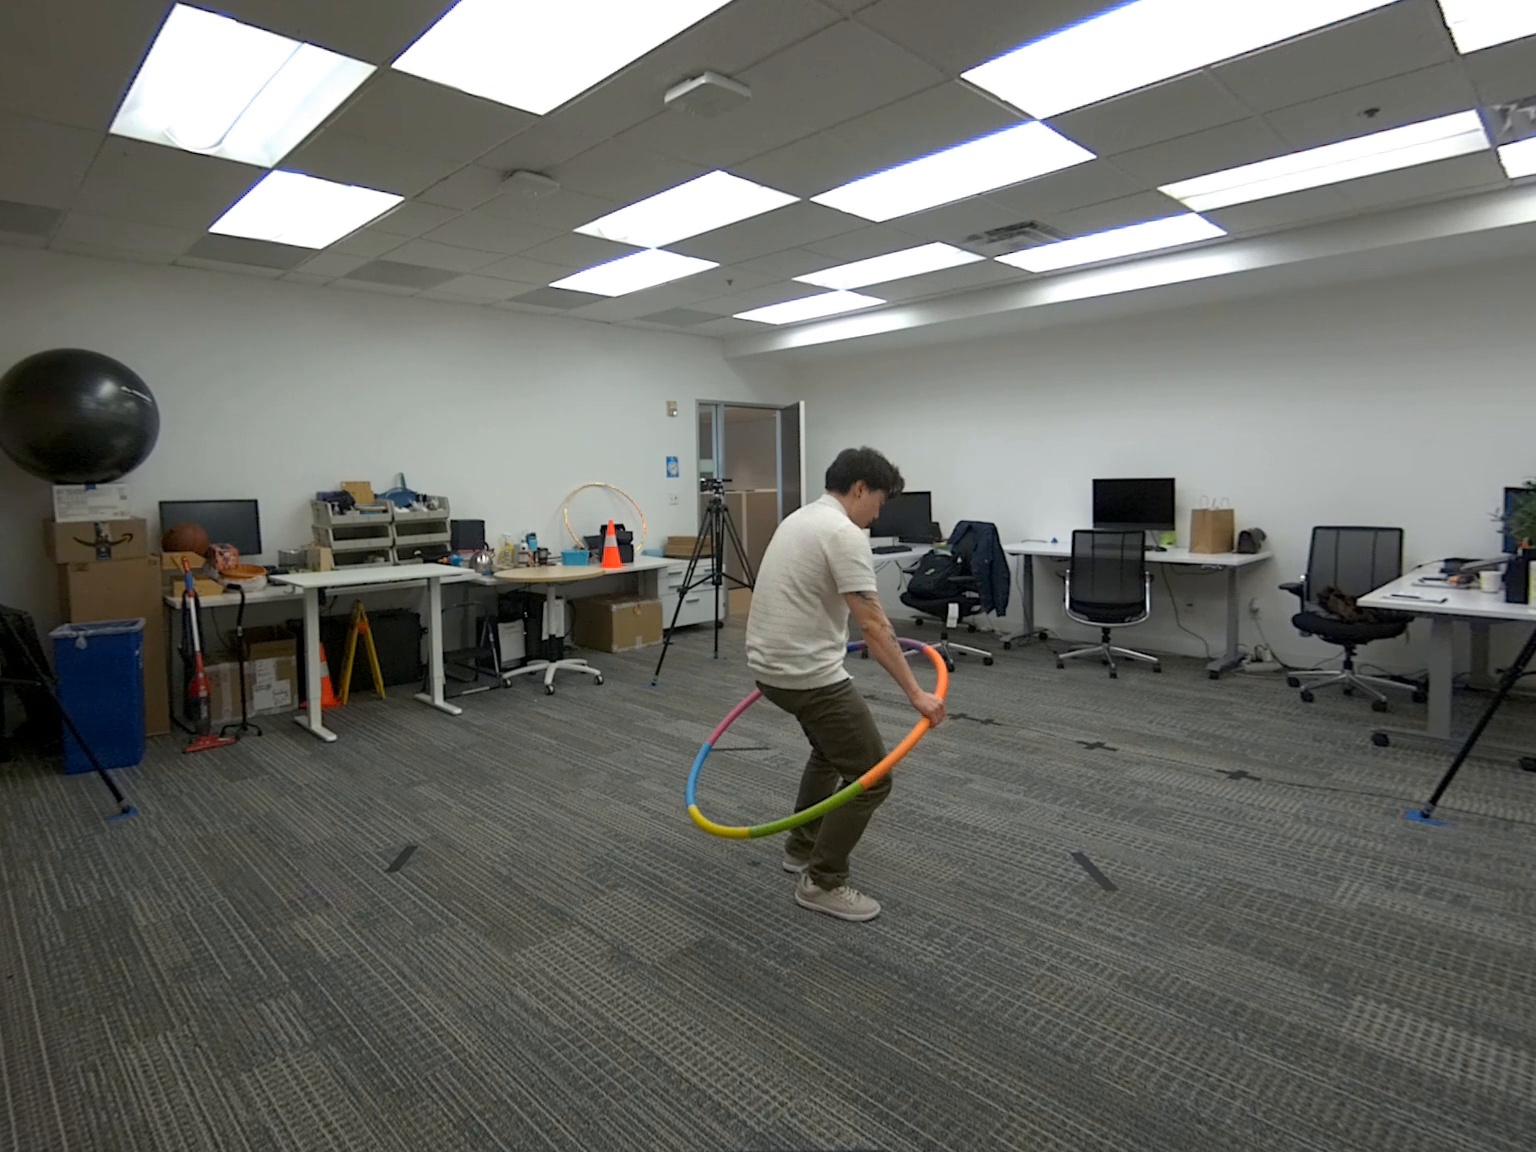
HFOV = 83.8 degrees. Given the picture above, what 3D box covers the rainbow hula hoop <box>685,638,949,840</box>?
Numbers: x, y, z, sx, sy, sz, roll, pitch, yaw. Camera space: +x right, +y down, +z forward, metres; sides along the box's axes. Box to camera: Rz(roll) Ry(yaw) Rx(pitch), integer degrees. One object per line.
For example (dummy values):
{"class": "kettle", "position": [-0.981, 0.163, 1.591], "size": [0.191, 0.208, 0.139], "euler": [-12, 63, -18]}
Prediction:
{"class": "rainbow hula hoop", "position": [0.148, 0.514, 2.880], "size": [0.981, 0.035, 0.994], "euler": [-29, 17, 7]}
